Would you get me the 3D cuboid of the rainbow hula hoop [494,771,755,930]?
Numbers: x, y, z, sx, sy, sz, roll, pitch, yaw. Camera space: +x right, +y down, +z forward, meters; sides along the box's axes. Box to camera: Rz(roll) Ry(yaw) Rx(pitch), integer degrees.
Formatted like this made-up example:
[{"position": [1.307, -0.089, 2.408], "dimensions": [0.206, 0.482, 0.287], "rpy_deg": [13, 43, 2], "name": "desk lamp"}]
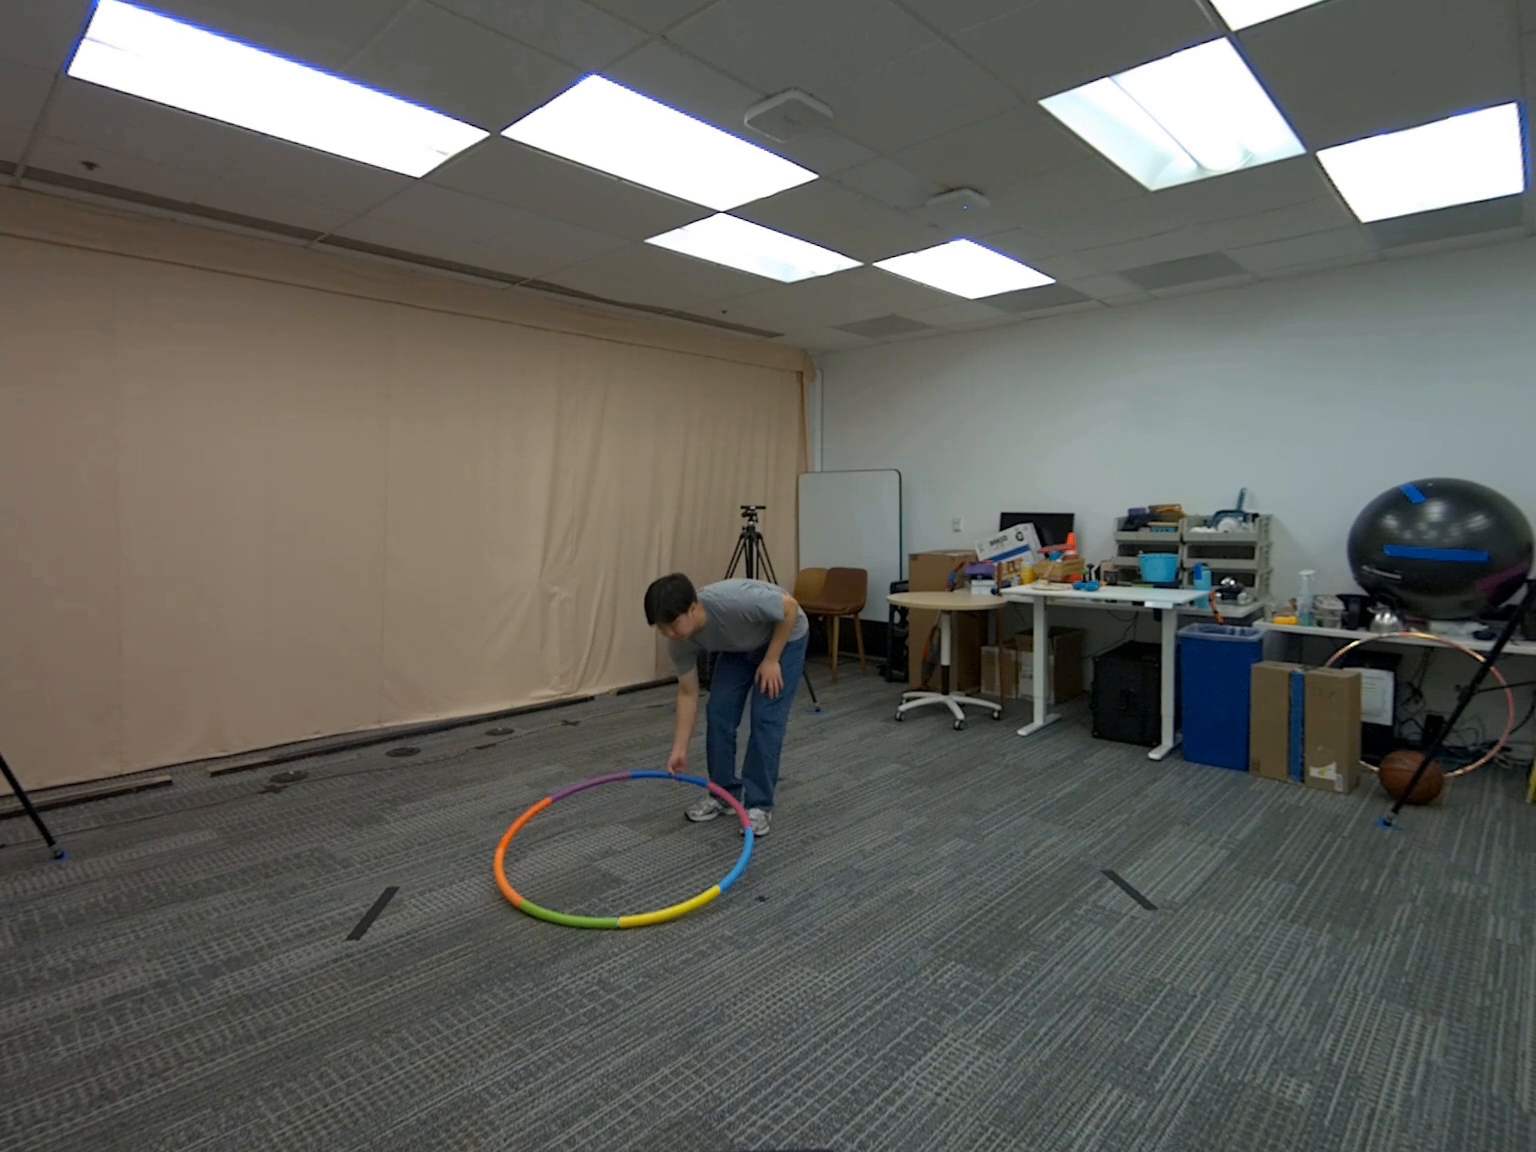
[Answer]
[{"position": [-0.548, 0.996, 3.236], "dimensions": [0.979, 0.035, 0.989], "rpy_deg": [-4, 16, -1], "name": "rainbow hula hoop"}]
